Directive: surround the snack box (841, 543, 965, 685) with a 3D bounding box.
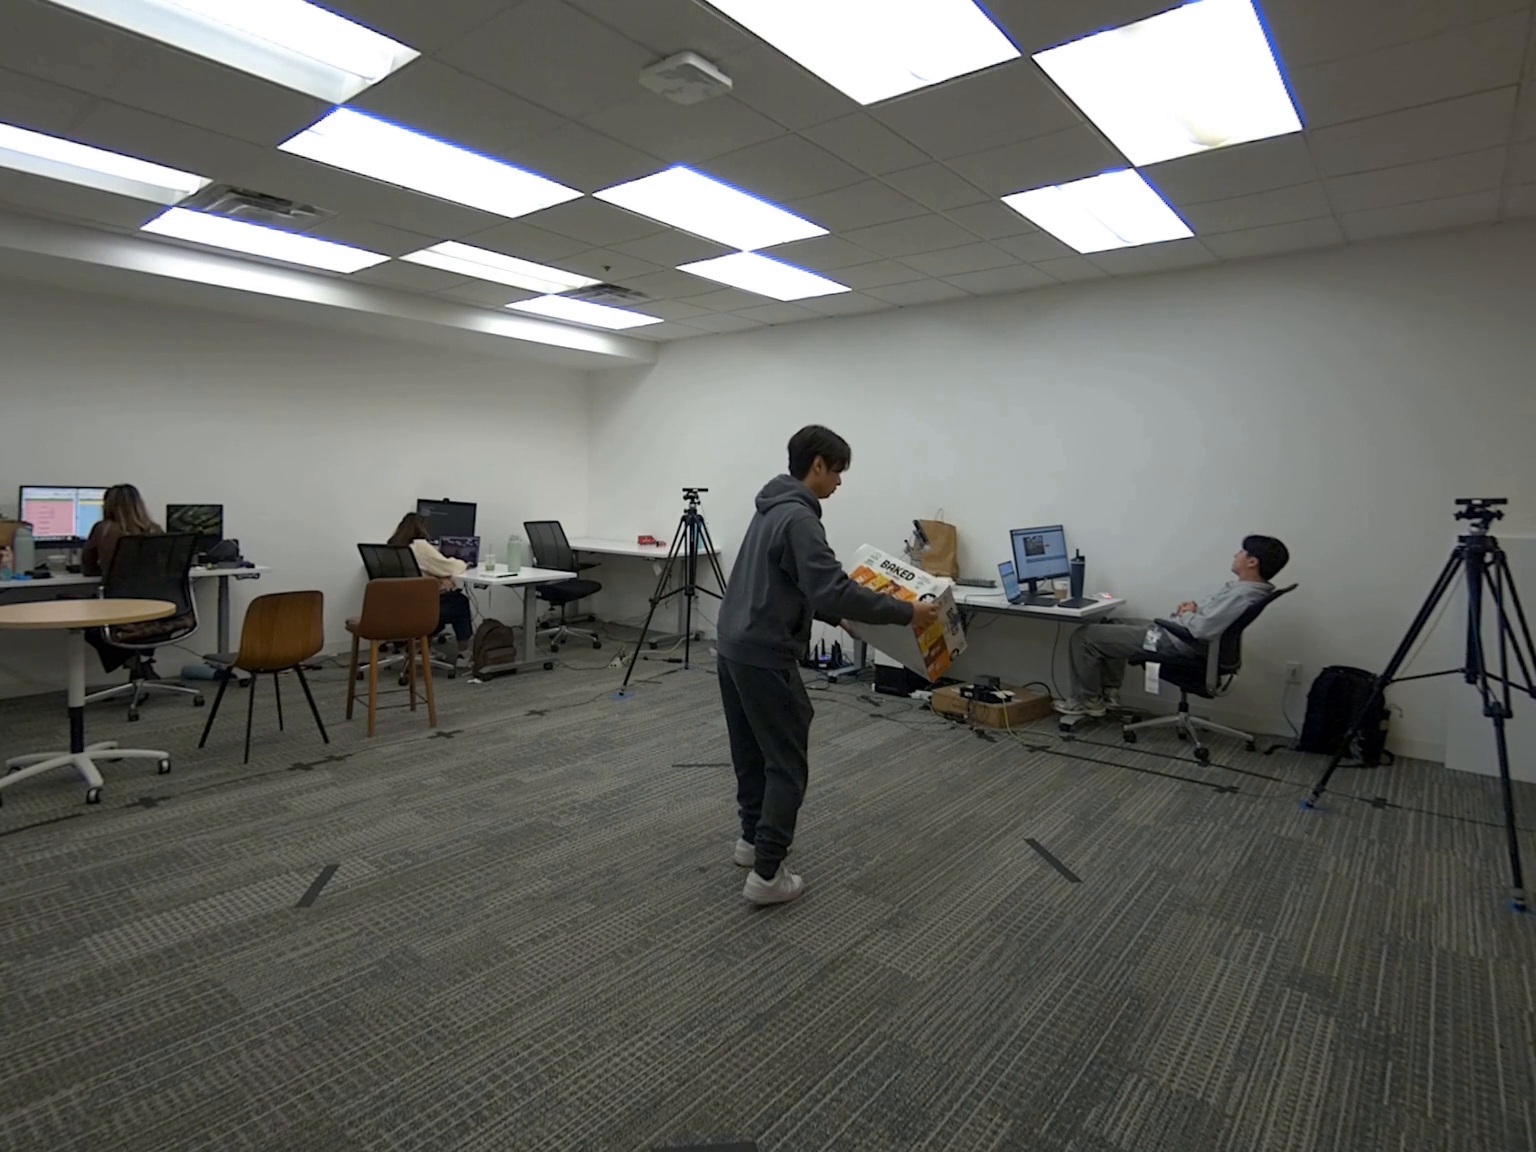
[{"bbox_3d":[0.470,0.133,3.122,0.205,0.327,0.422,-40,43,-19],"label":"snack box"}]
